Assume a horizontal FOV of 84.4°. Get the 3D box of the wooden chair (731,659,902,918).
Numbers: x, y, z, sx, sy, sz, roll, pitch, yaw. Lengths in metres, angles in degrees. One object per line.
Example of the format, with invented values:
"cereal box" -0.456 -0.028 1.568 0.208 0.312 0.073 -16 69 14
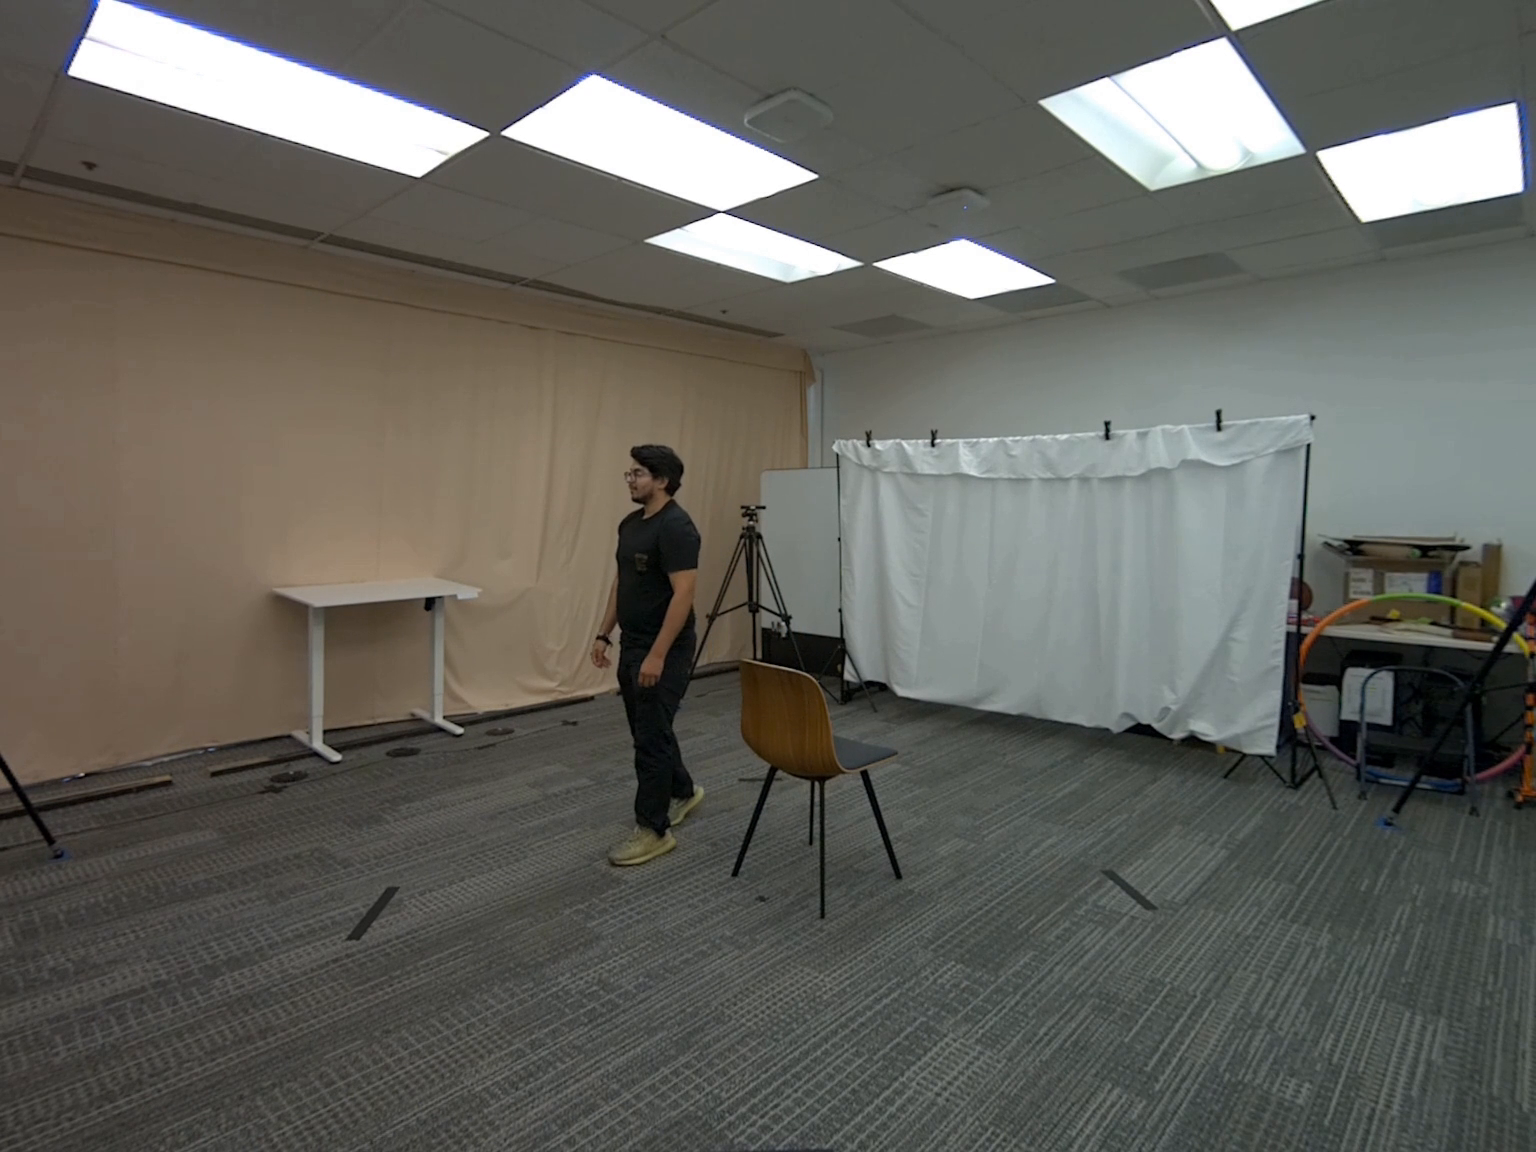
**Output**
"wooden chair" 0.189 0.704 3.124 0.508 0.874 0.494 -9 8 -43
